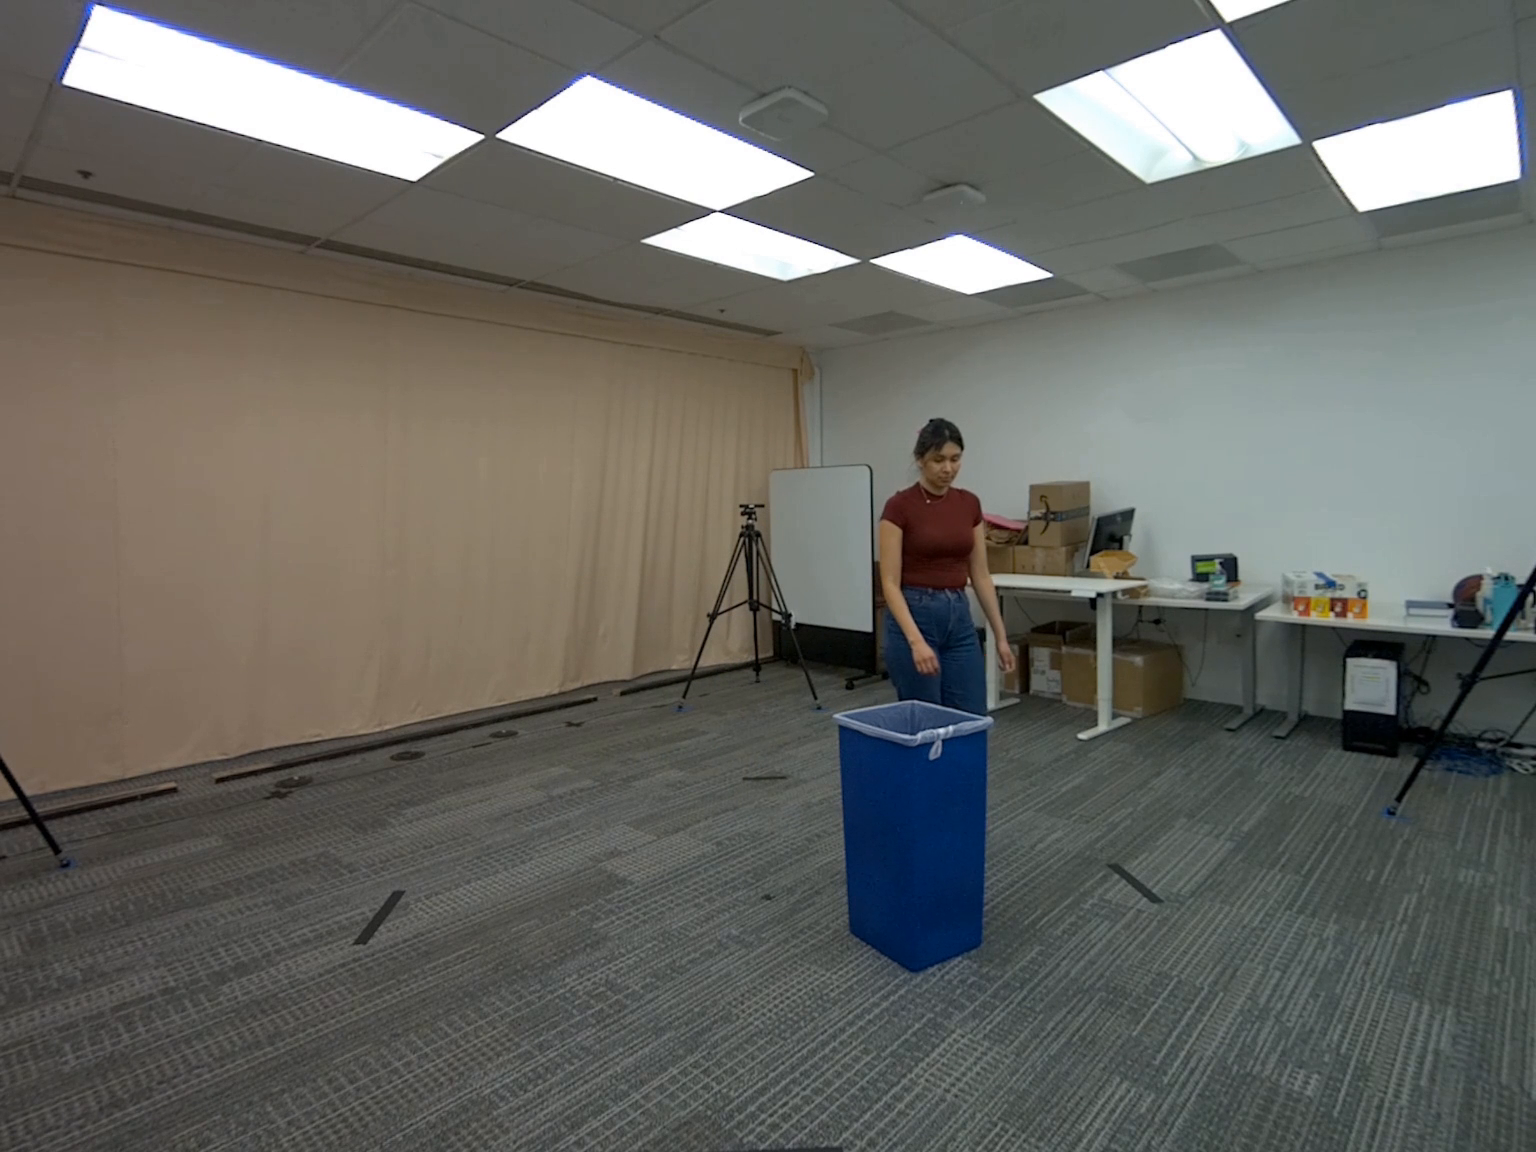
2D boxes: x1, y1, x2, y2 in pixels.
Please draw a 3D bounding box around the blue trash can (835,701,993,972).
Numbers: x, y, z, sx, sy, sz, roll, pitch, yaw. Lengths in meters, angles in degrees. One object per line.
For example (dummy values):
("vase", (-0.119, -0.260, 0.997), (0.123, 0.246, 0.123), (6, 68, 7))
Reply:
("blue trash can", (0.460, 0.801, 2.670), (0.367, 0.712, 0.386), (-3, 4, -34))
